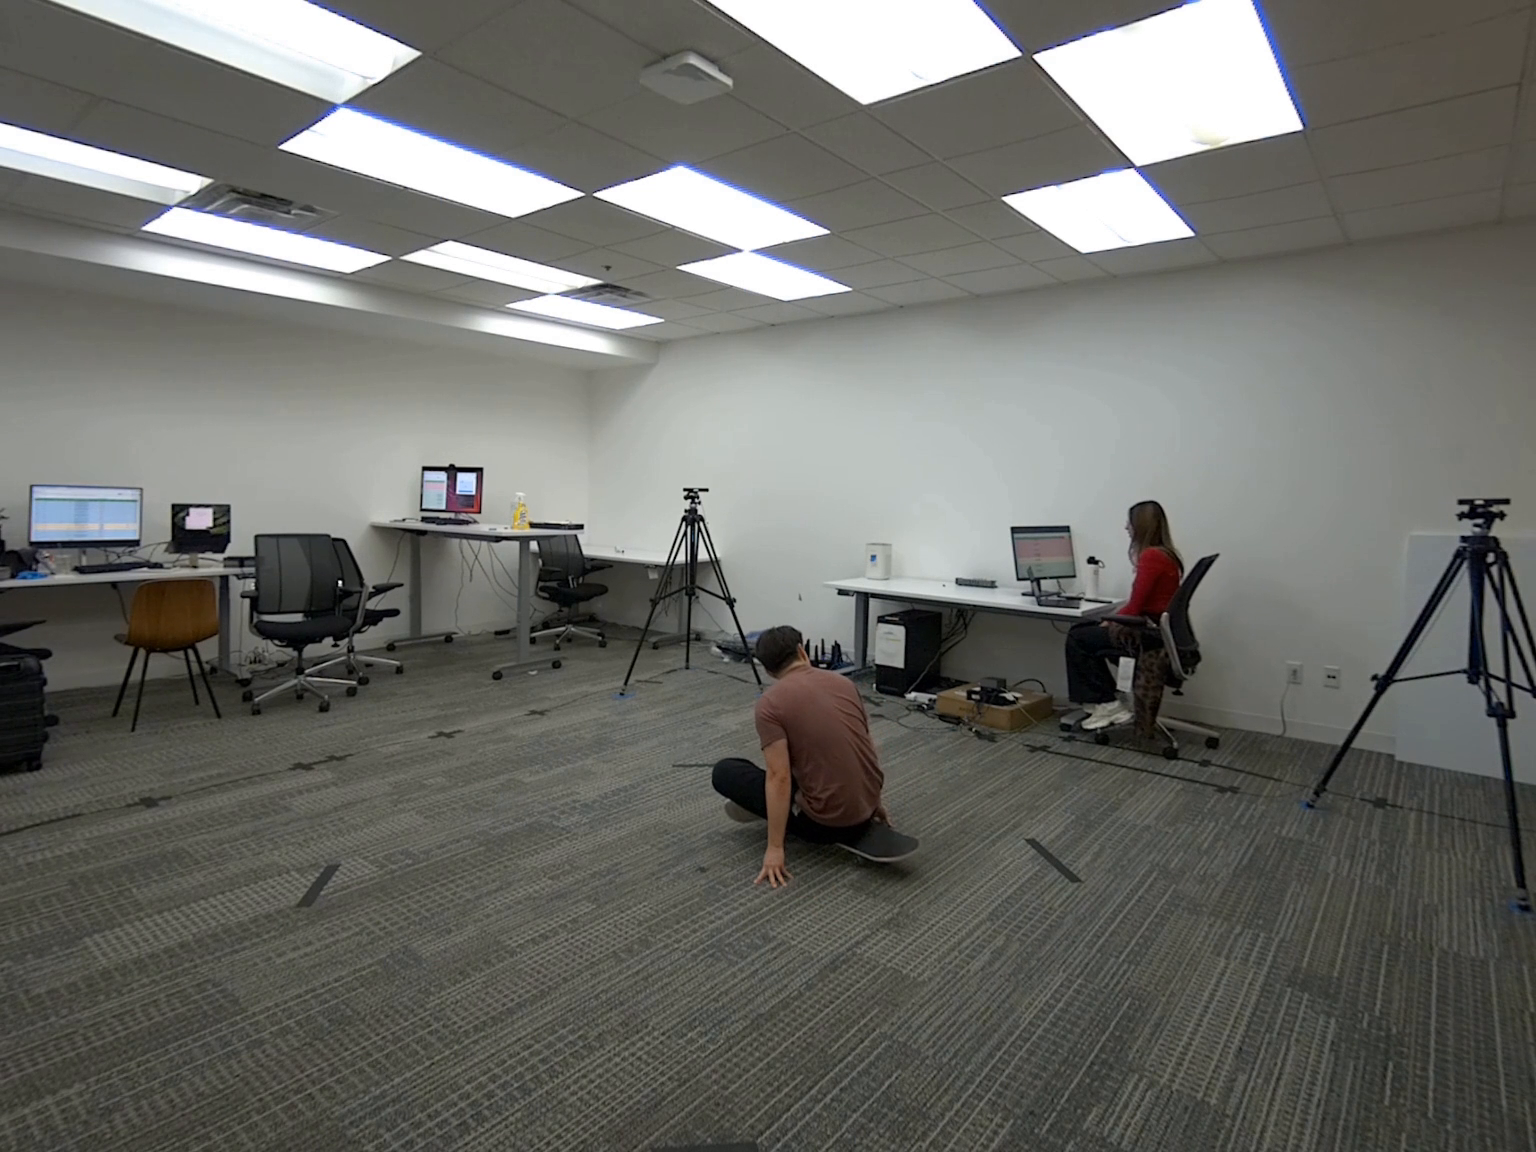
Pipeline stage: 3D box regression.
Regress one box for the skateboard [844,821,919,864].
[{"bbox_3d":[0.259,0.997,3.370,0.189,0.109,0.814,-17,18,-36],"label":"skateboard"}]
